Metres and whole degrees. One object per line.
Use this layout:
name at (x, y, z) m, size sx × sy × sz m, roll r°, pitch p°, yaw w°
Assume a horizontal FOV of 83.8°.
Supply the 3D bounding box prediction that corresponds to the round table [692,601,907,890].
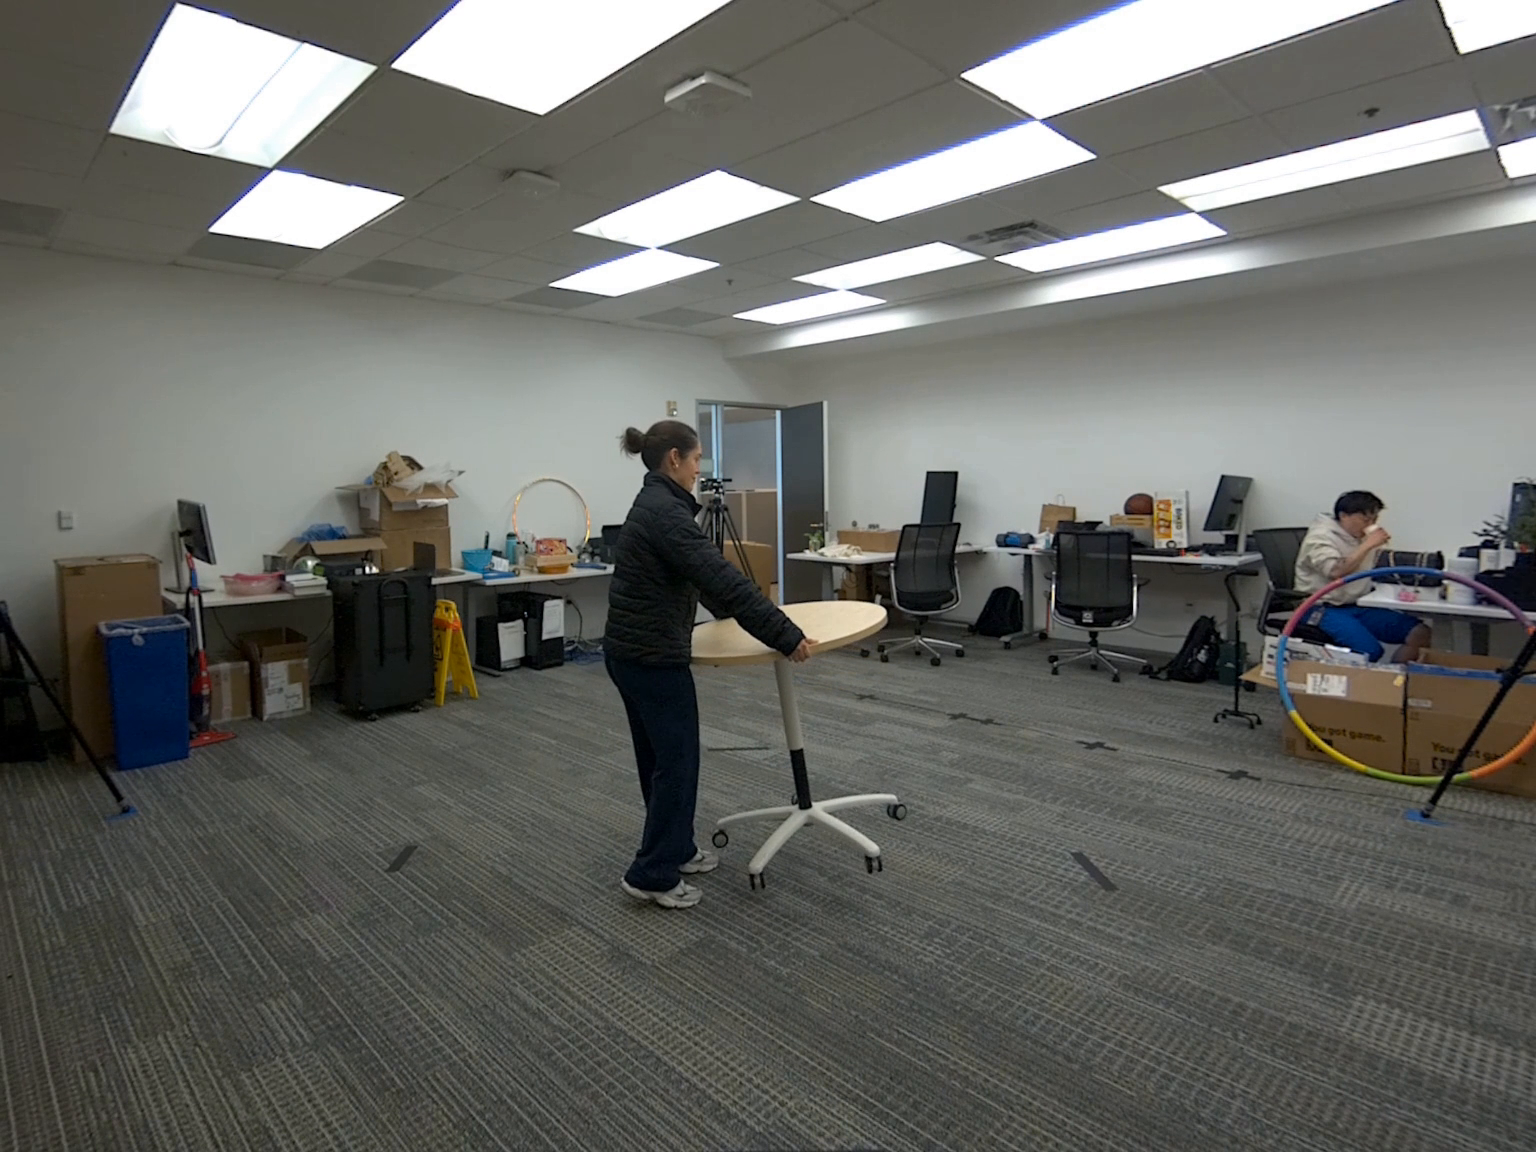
round table at (0.083, 0.571, 3.020) m, size 0.785 × 0.782 × 0.790 m, roll -9°, pitch 6°, yaw -1°
